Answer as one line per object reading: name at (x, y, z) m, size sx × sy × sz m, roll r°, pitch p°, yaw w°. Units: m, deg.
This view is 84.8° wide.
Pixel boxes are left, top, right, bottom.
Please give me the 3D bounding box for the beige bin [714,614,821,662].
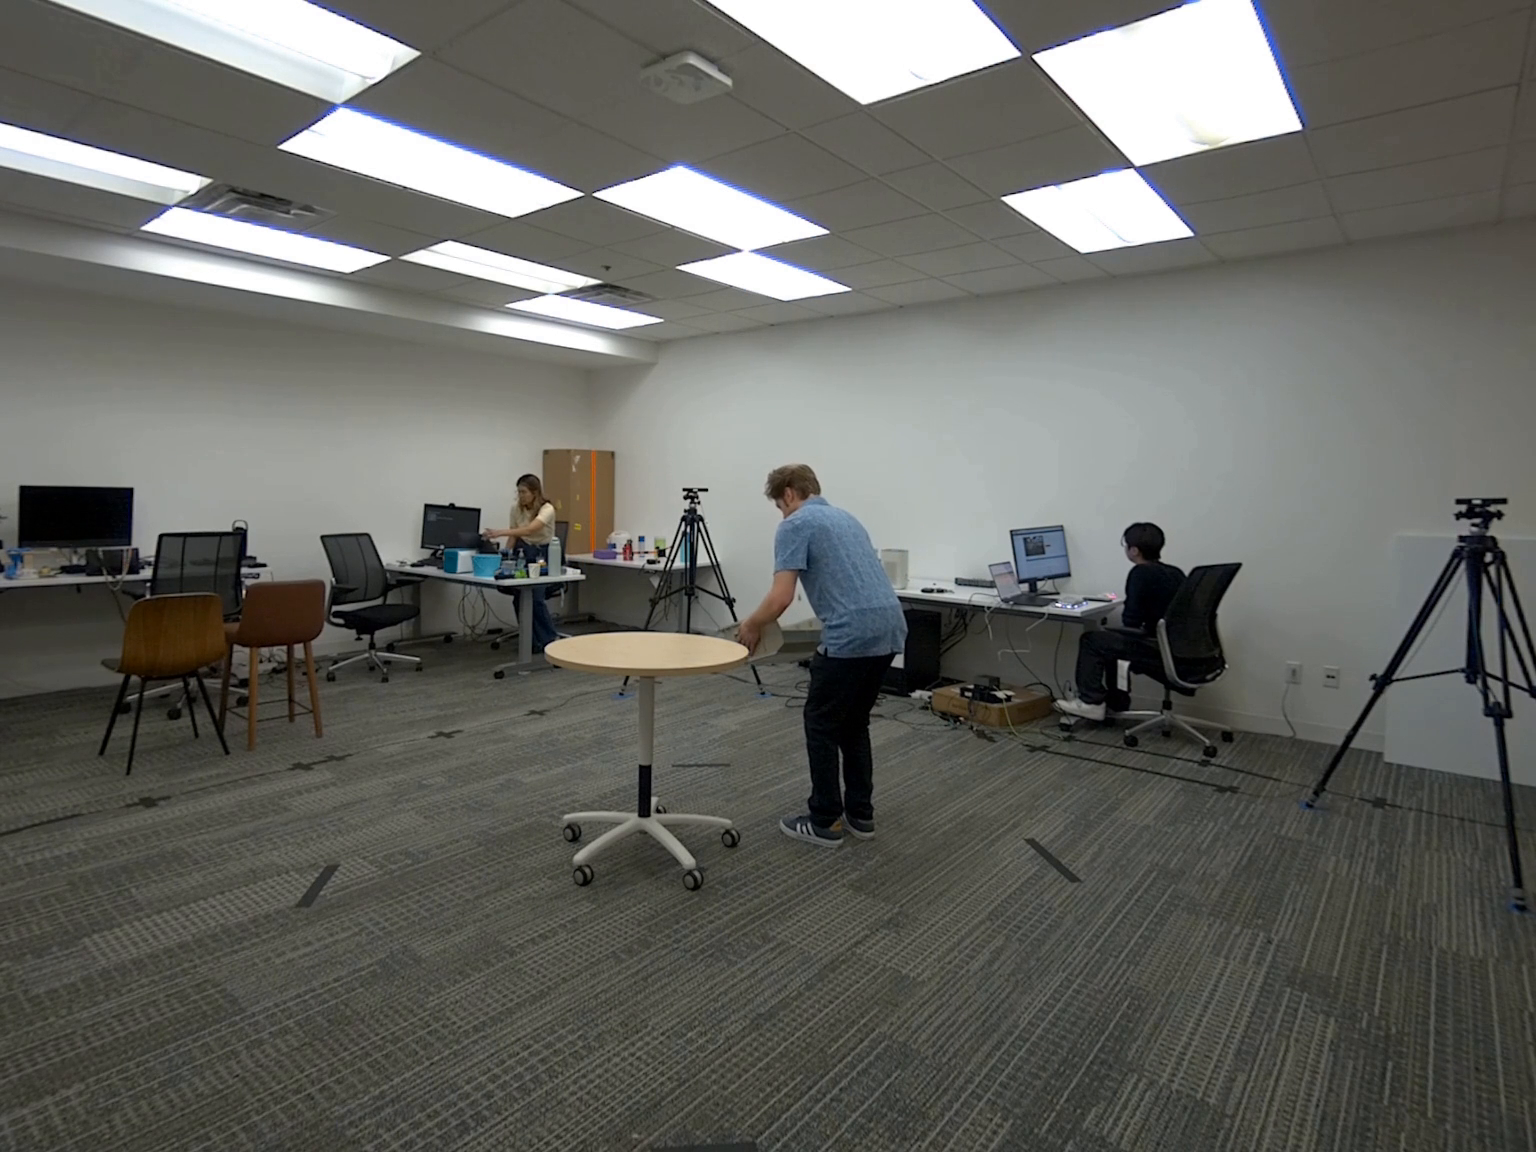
beige bin at (0.061, 0.267, 3.719) m, size 0.409 × 0.192 × 0.384 m, roll 1°, pitch -15°, yaw -42°
